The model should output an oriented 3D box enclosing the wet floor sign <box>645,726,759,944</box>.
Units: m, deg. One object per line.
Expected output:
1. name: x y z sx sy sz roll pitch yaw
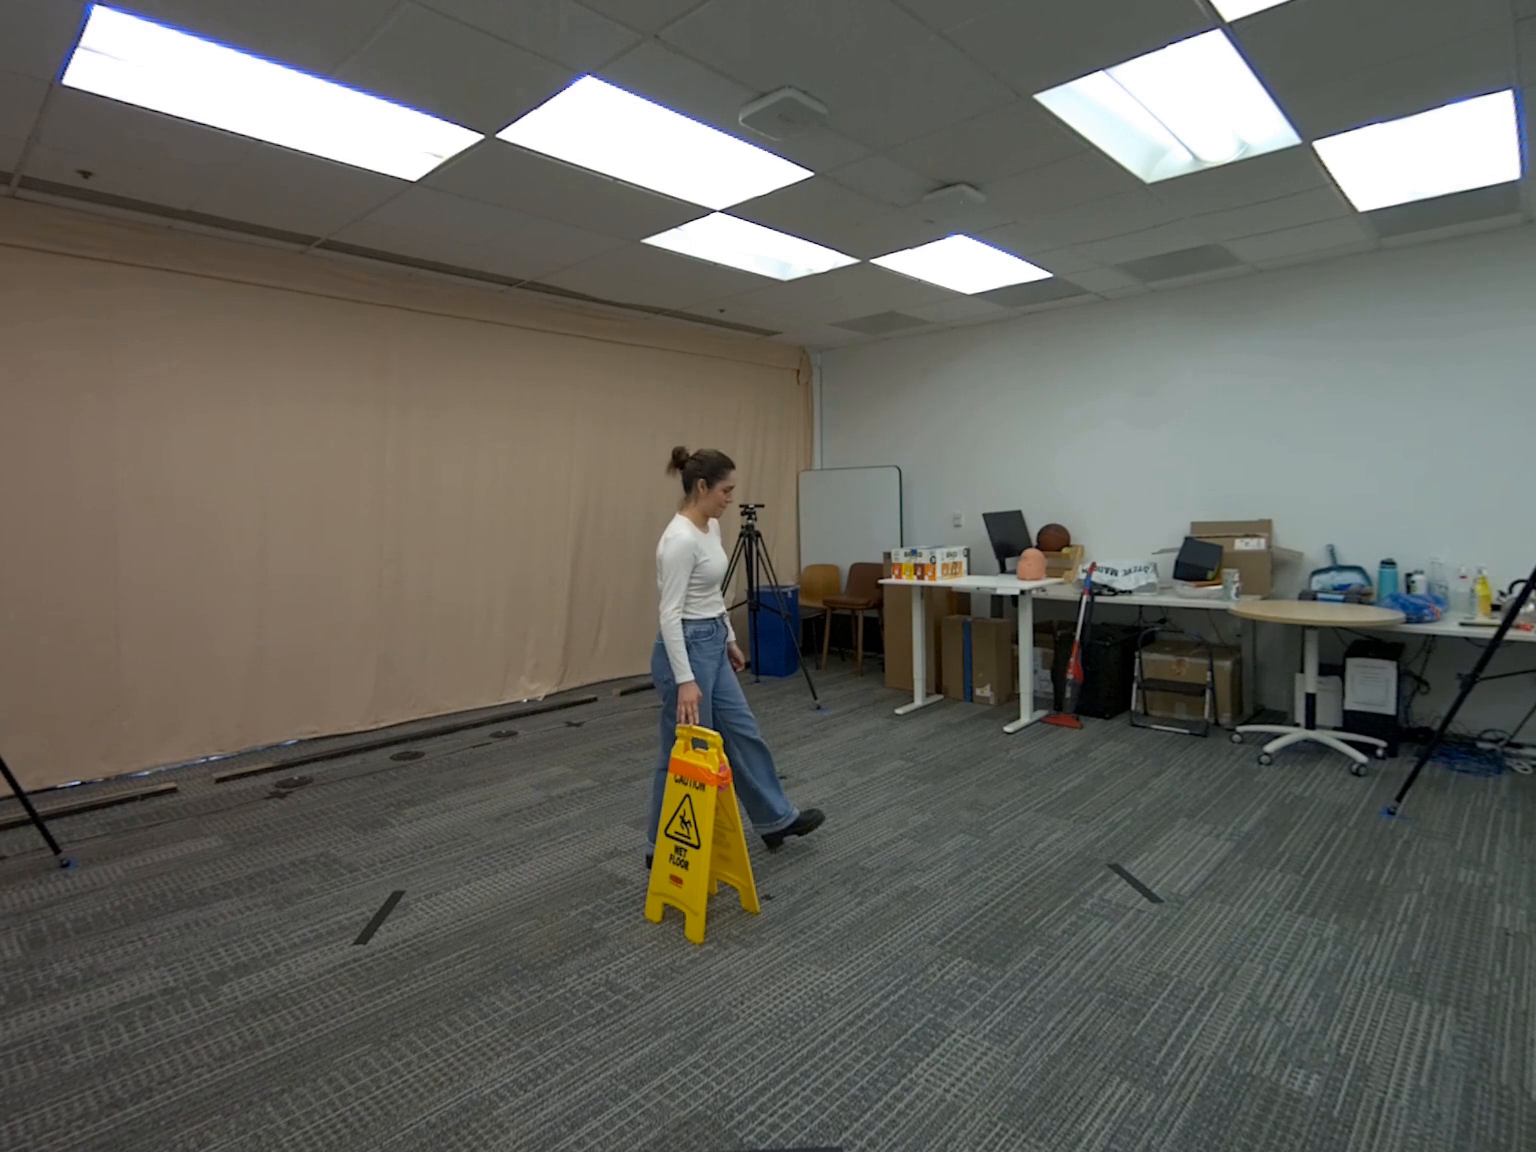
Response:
1. wet floor sign: -0.229 0.827 2.845 0.291 0.644 0.281 2 5 43
